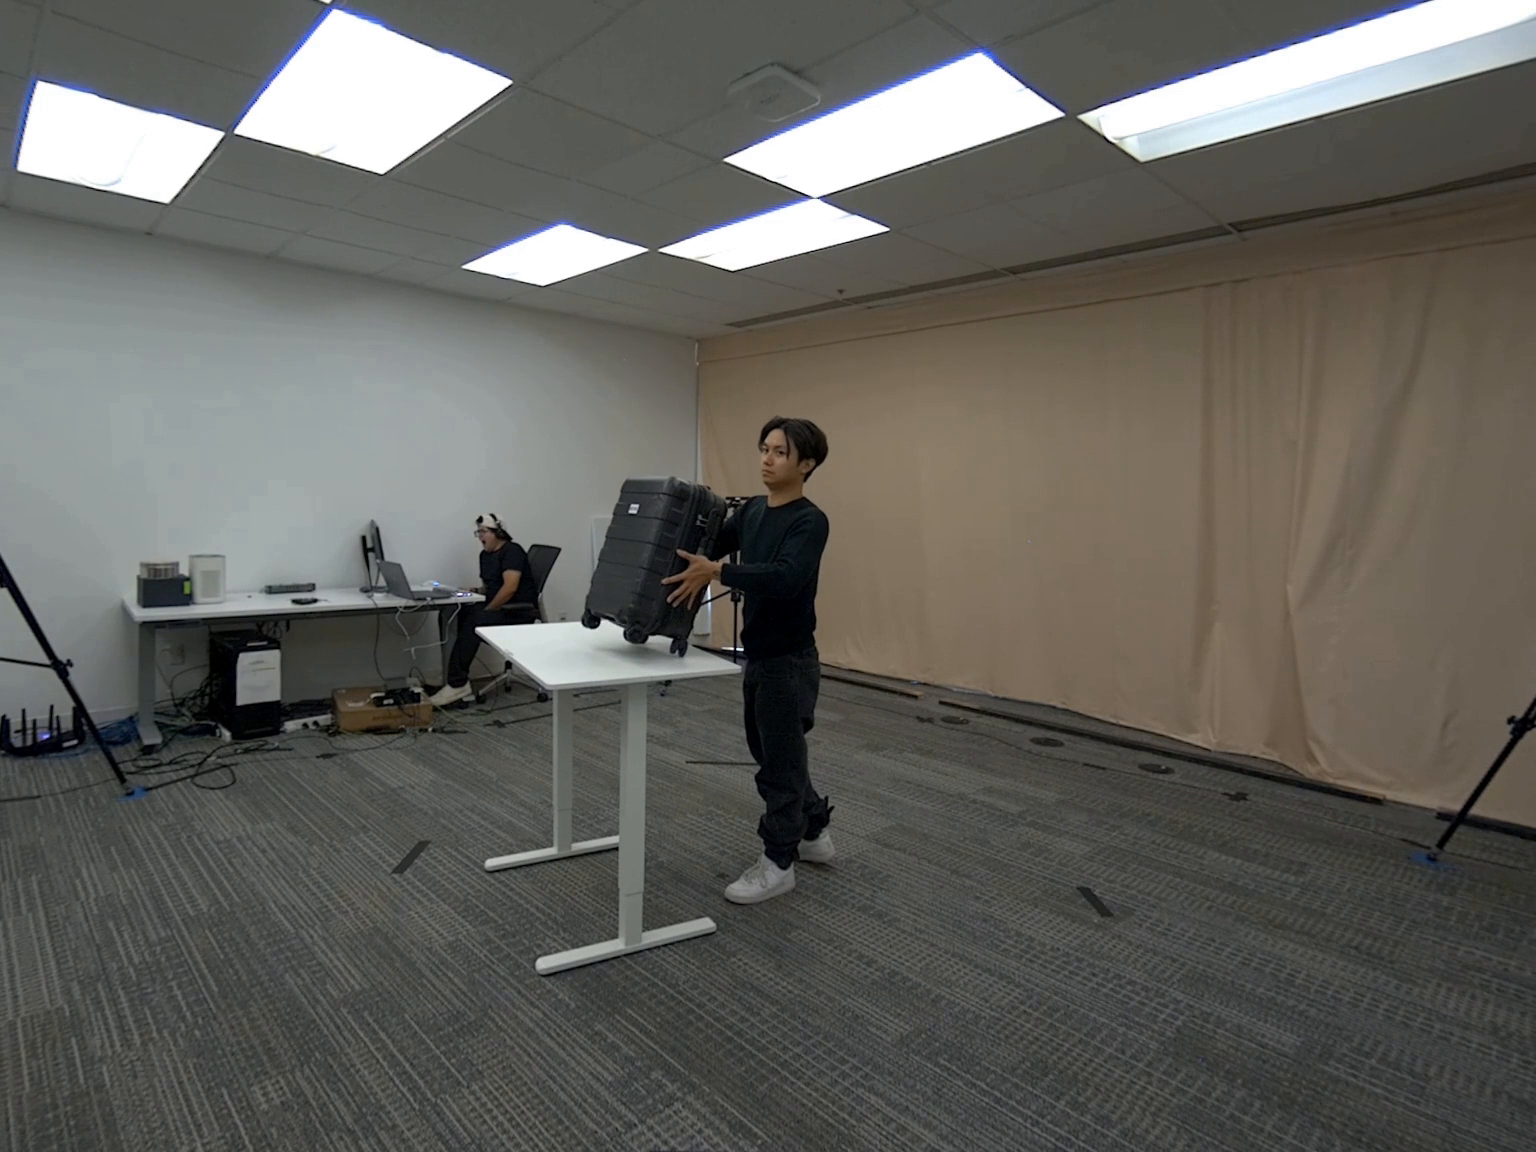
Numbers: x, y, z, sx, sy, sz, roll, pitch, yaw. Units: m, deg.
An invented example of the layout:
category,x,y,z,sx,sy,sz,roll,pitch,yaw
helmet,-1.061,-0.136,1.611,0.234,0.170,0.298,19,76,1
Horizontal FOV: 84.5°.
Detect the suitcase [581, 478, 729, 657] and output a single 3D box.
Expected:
category,x,y,z,sx,sy,sz,roll,pitch,yaw
suitcase,-0.369,-0.050,2.755,0.241,0.551,0.385,21,-7,-37
